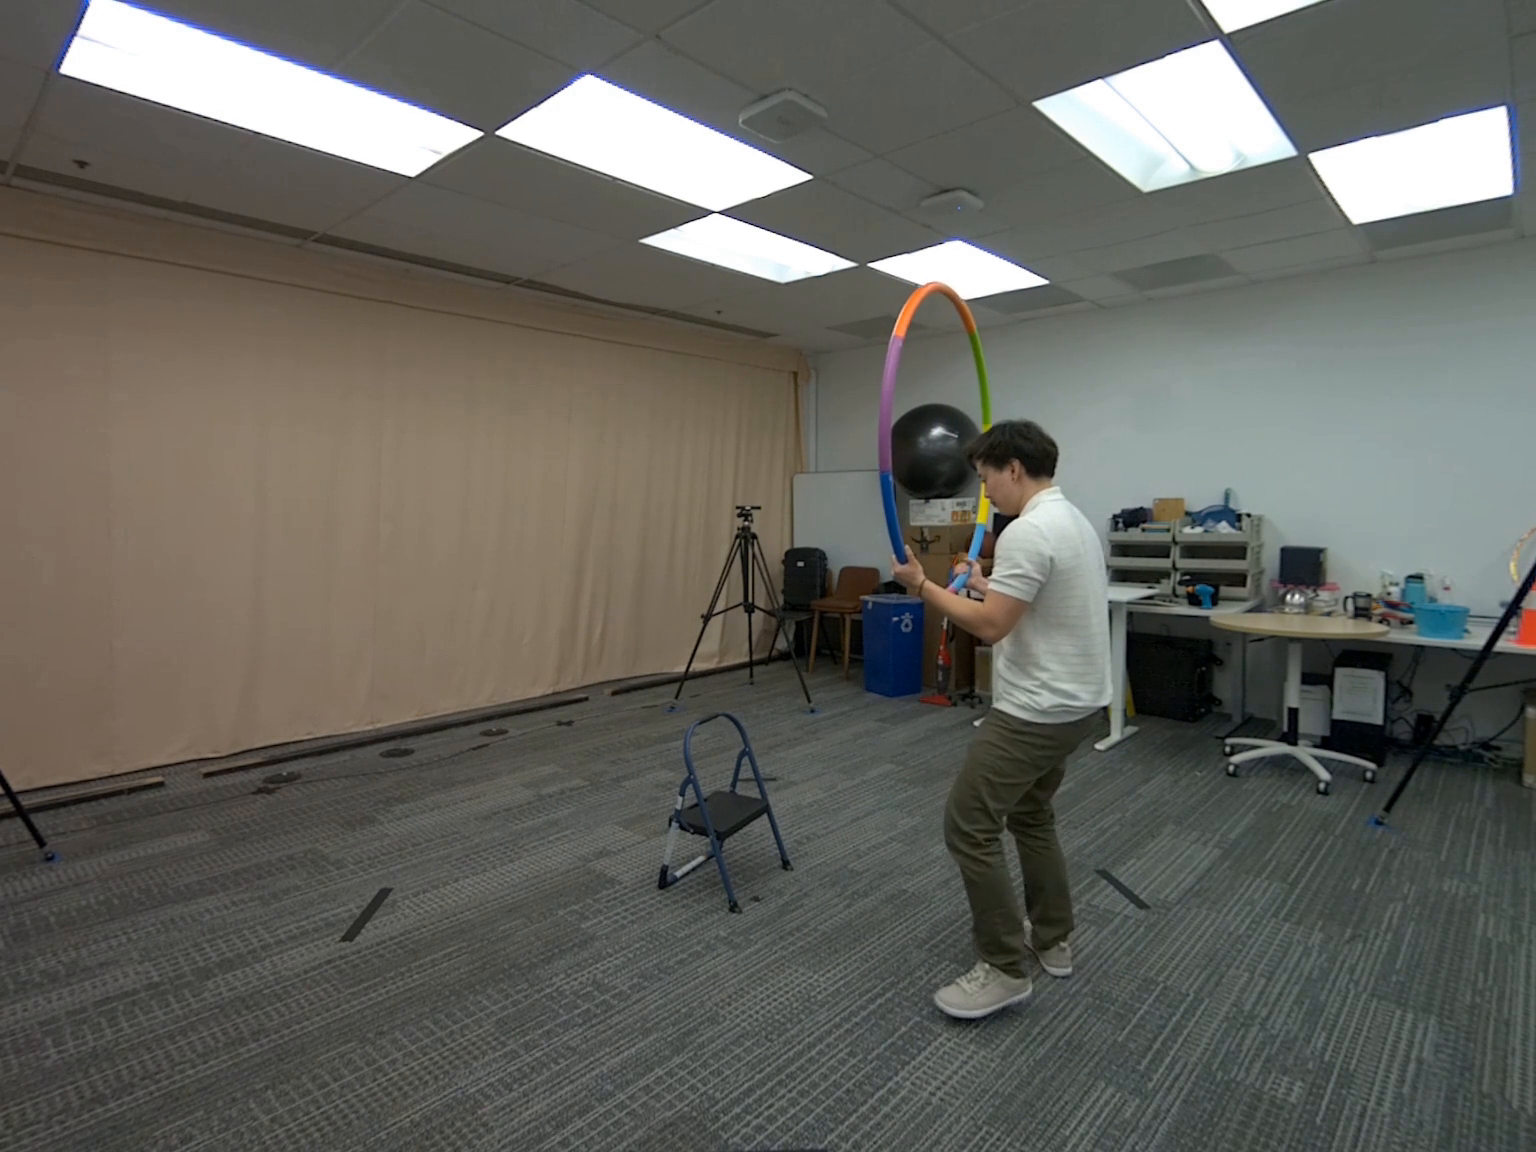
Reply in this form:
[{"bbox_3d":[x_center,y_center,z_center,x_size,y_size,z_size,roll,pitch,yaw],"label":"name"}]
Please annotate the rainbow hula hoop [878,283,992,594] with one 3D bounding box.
[{"bbox_3d":[0.560,-0.397,2.626,0.036,0.977,0.951,1,4,32],"label":"rainbow hula hoop"}]
